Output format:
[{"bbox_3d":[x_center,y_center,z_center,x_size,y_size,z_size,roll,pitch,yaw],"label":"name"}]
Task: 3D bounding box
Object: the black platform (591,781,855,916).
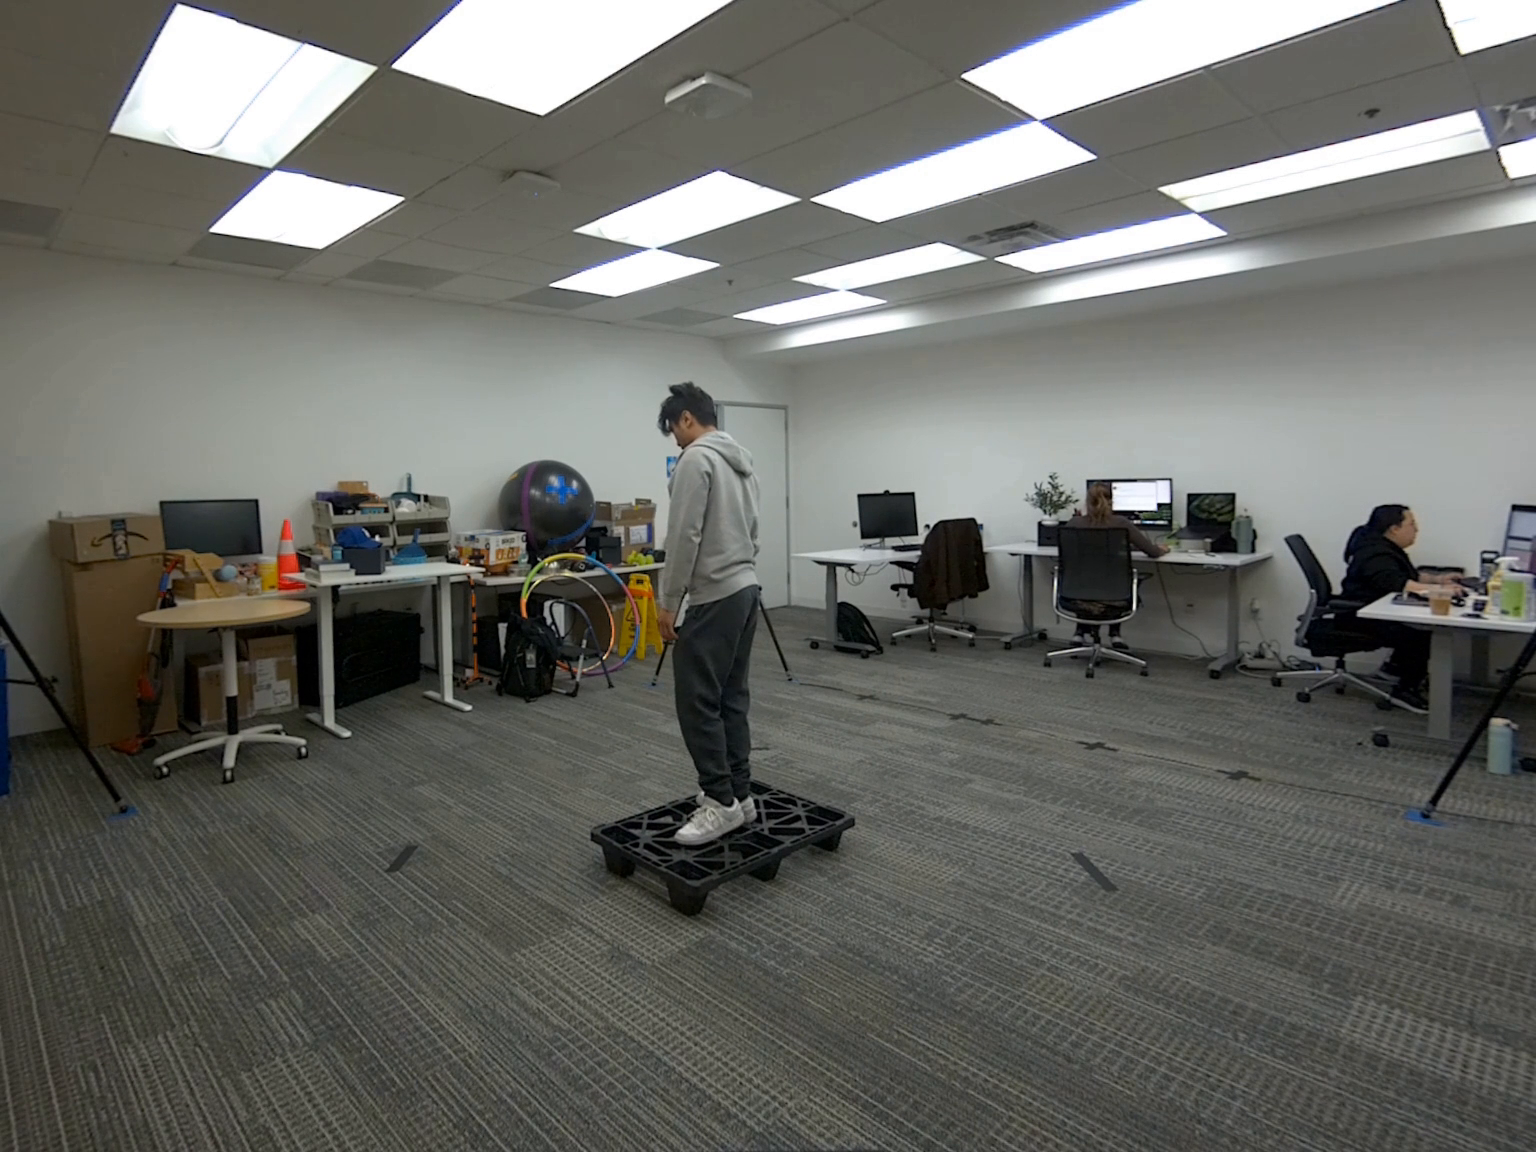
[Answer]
[{"bbox_3d":[-0.152,0.974,3.148,0.784,0.142,0.624,-7,10,-43],"label":"black platform"}]
